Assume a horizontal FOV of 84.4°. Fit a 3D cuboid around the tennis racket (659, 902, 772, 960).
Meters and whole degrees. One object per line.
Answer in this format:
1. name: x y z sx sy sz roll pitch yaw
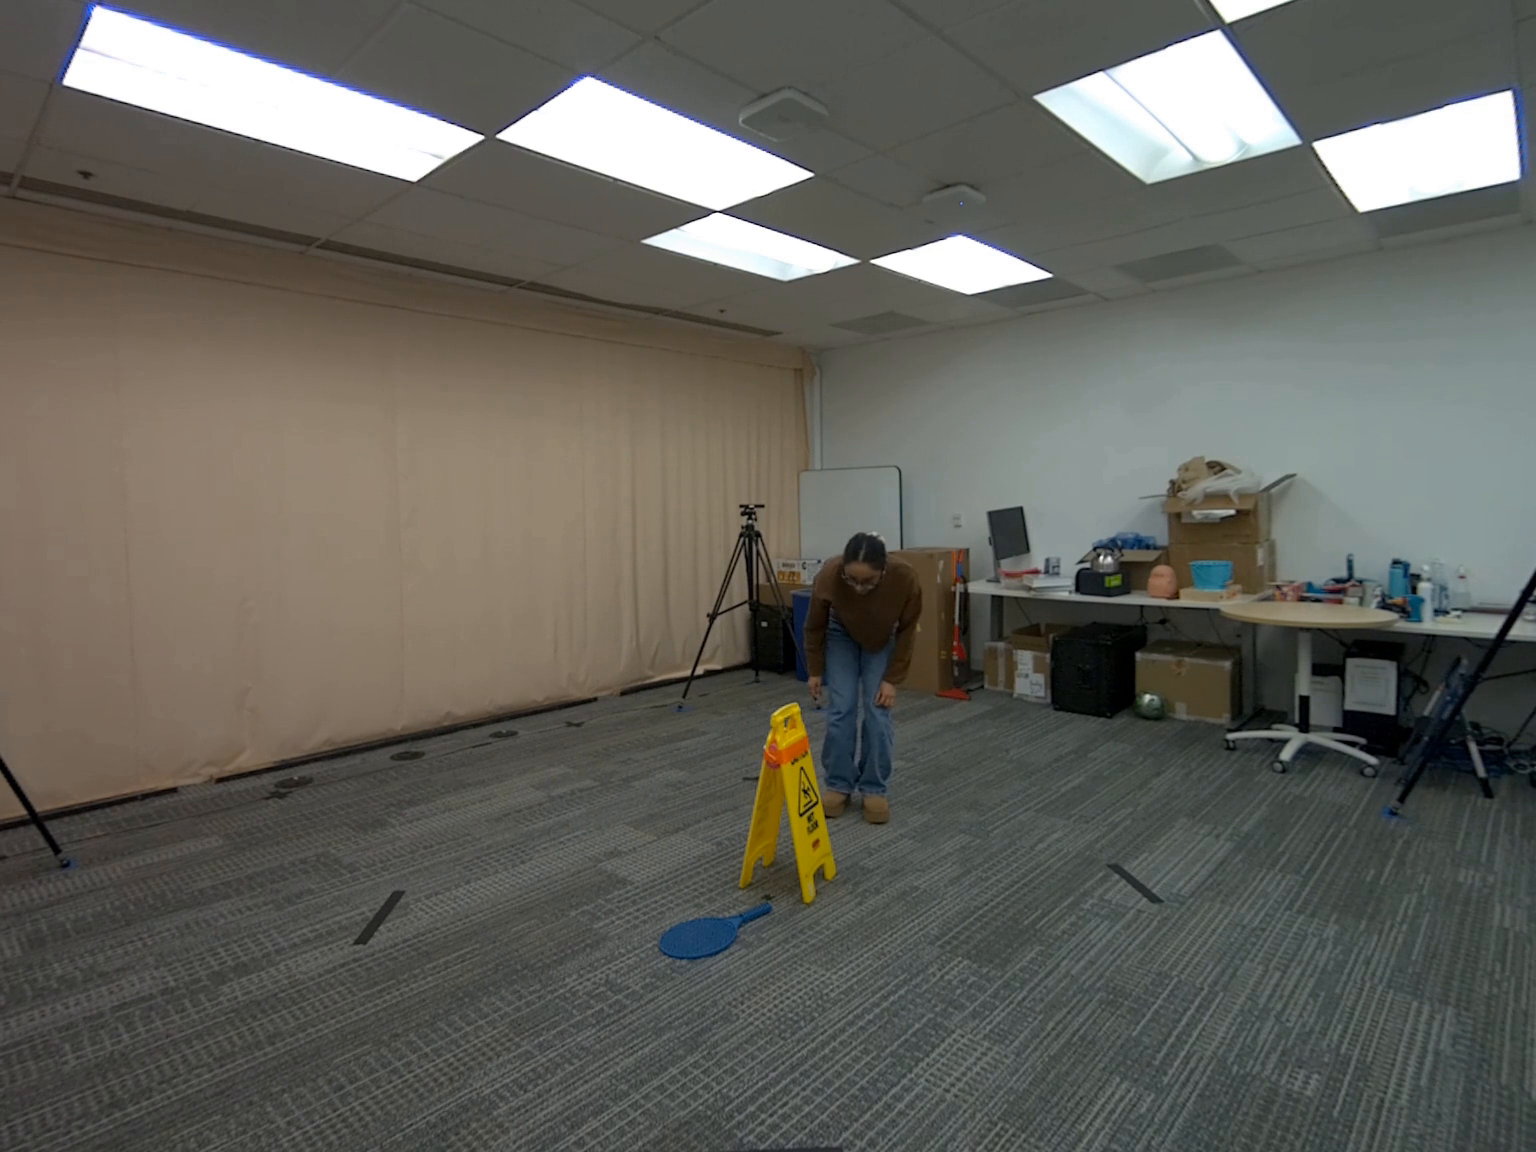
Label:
1. tennis racket: -0.160 1.150 2.751 0.420 0.031 0.221 -7 7 -40
